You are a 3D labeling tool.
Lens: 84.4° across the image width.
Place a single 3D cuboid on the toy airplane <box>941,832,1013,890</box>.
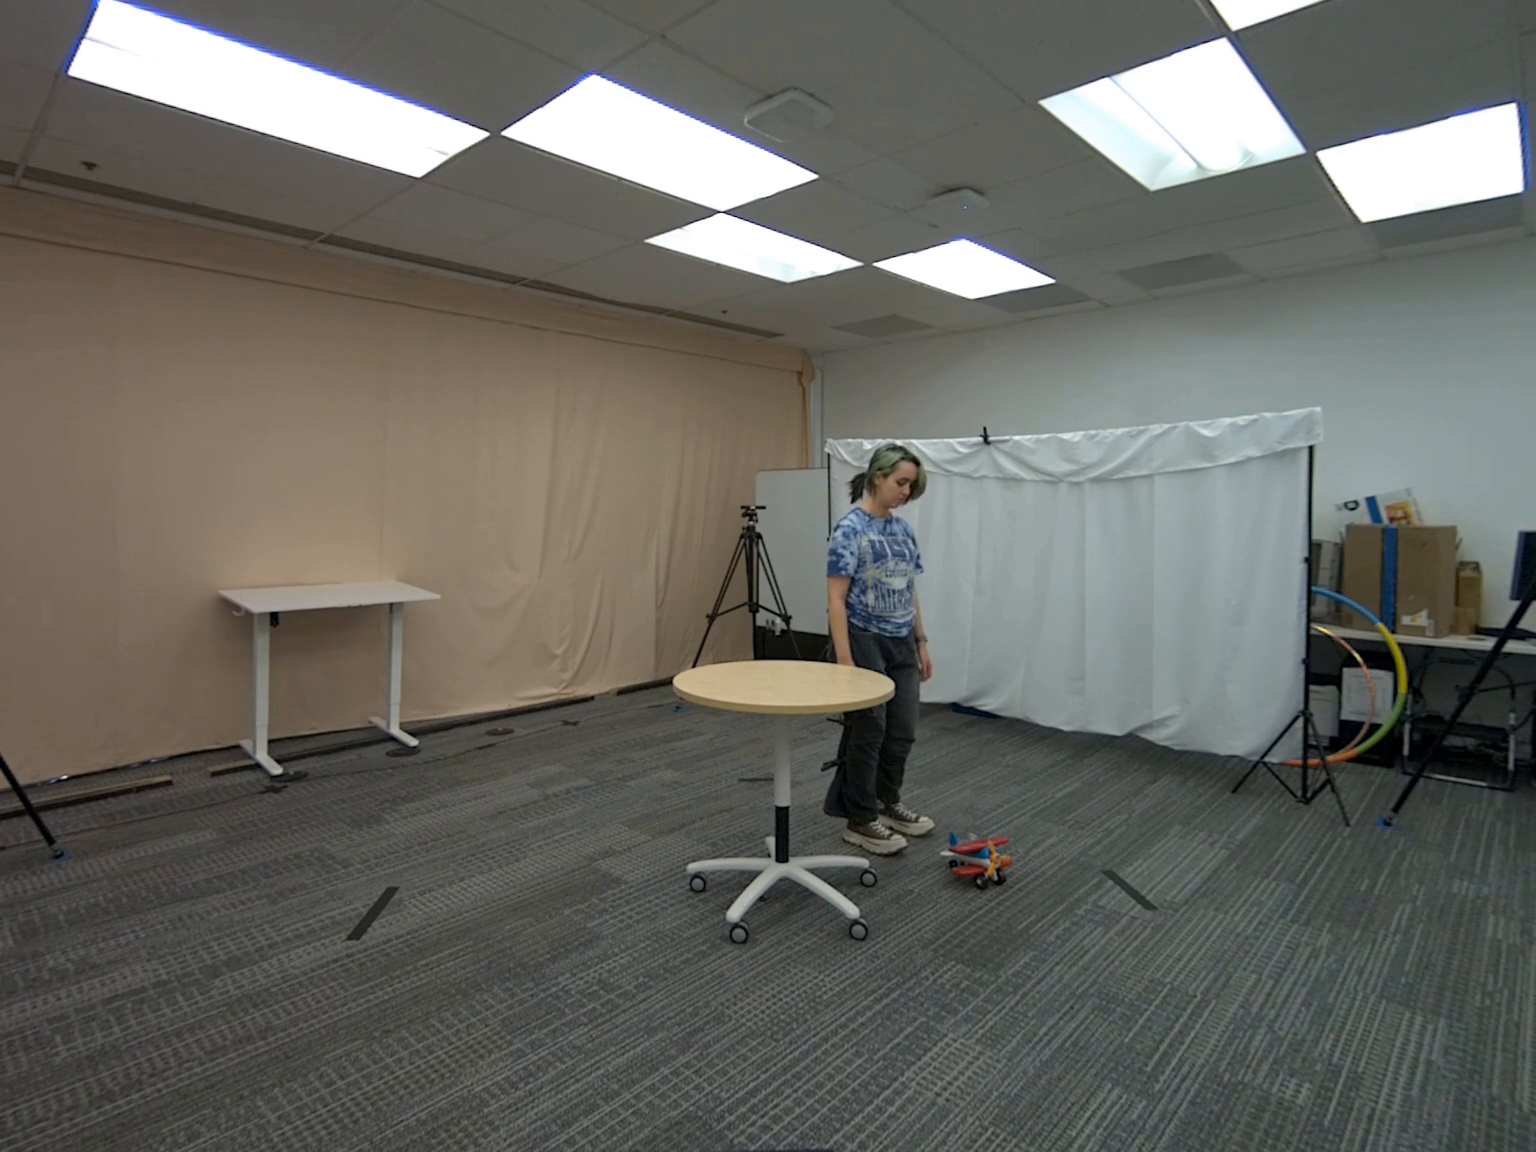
[{"bbox_3d":[0.761,1.053,3.139,0.267,0.156,0.244,4,6,35],"label":"toy airplane"}]
